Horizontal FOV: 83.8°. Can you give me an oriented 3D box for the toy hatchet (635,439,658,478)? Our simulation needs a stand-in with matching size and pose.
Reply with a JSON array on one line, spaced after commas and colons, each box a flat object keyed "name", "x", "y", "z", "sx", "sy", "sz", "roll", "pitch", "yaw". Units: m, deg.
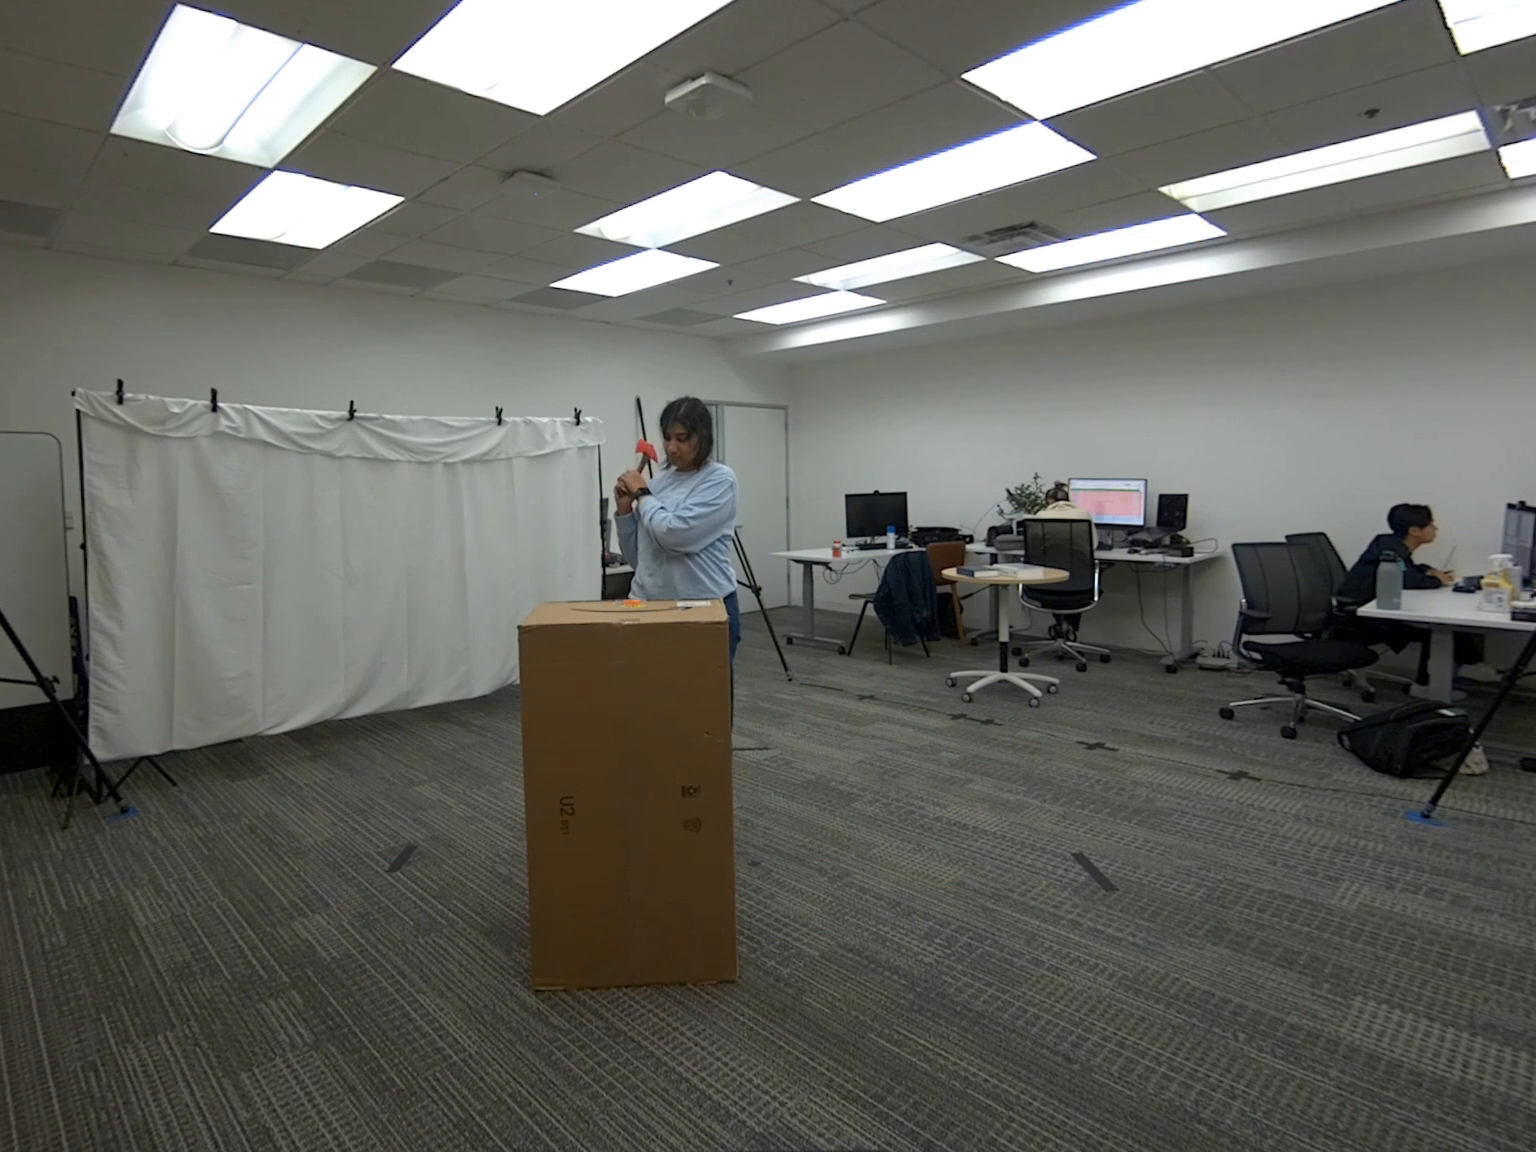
[{"name": "toy hatchet", "x": -0.500, "y": -0.420, "z": 3.182, "sx": 0.030, "sy": 0.127, "sz": 0.271, "roll": -1, "pitch": 37, "yaw": 30}]
